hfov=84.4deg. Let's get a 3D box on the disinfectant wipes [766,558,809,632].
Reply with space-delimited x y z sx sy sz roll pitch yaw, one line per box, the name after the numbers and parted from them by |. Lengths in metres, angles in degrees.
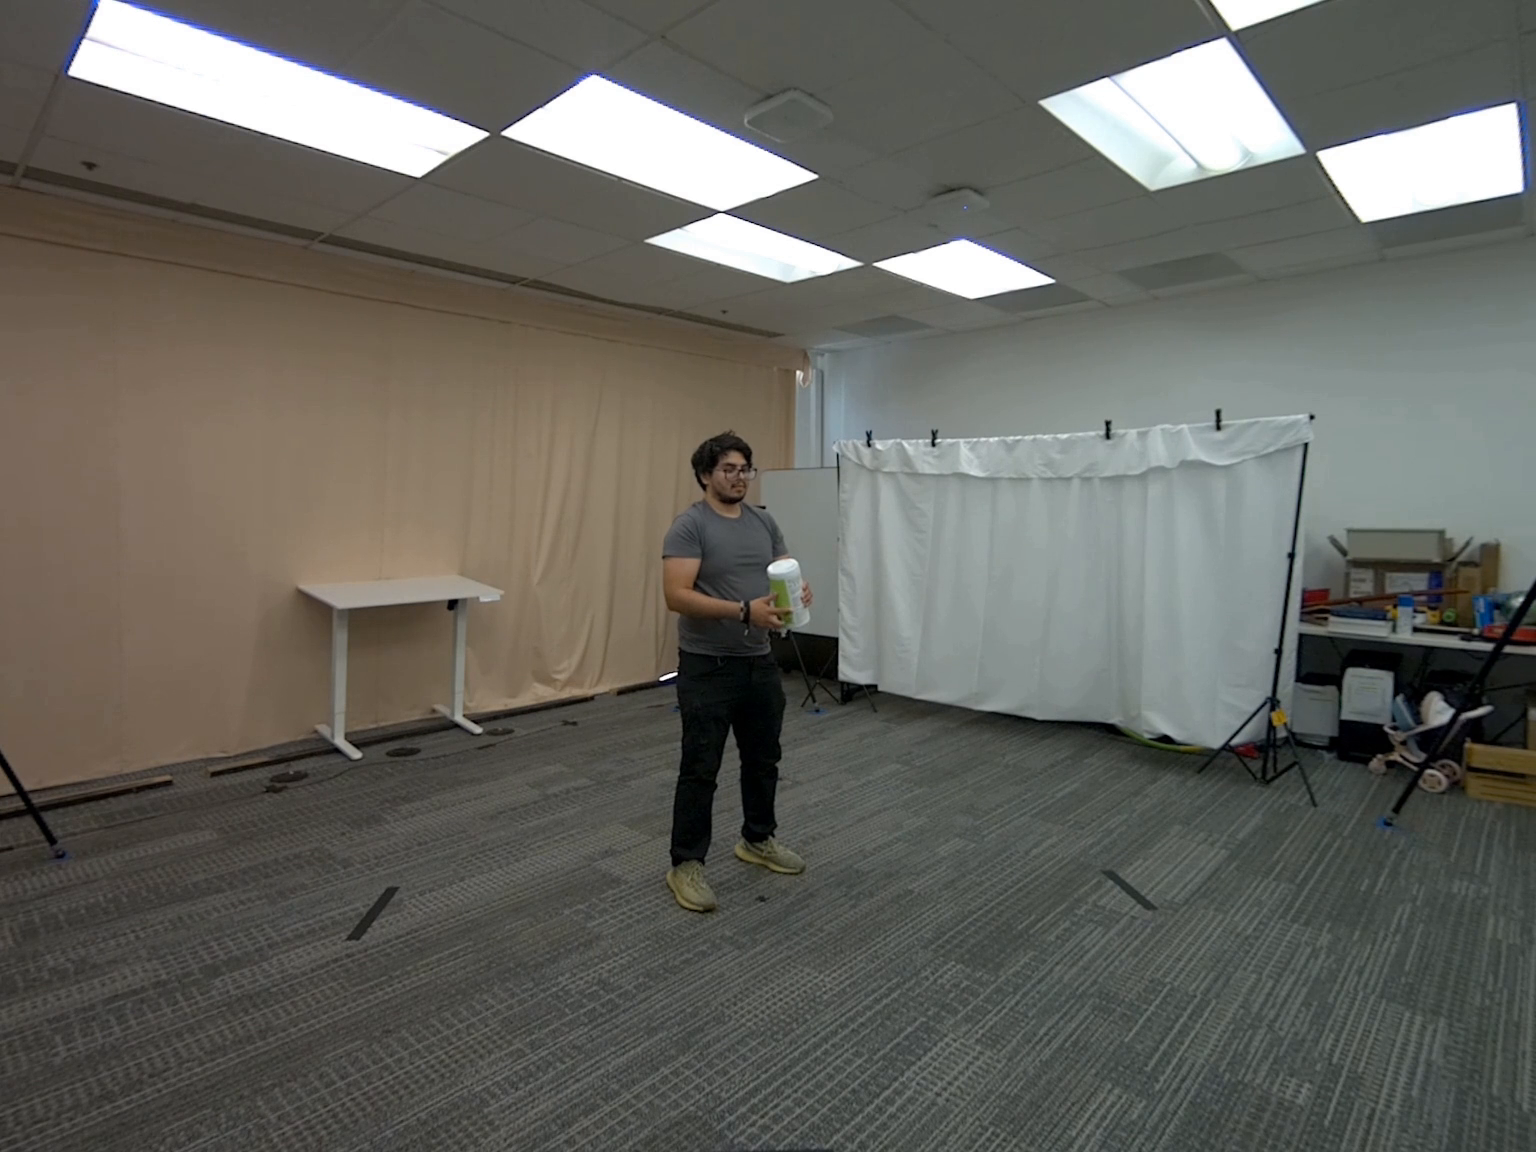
0.066 0.062 2.834 0.118 0.214 0.119 -9 20 2 | disinfectant wipes
